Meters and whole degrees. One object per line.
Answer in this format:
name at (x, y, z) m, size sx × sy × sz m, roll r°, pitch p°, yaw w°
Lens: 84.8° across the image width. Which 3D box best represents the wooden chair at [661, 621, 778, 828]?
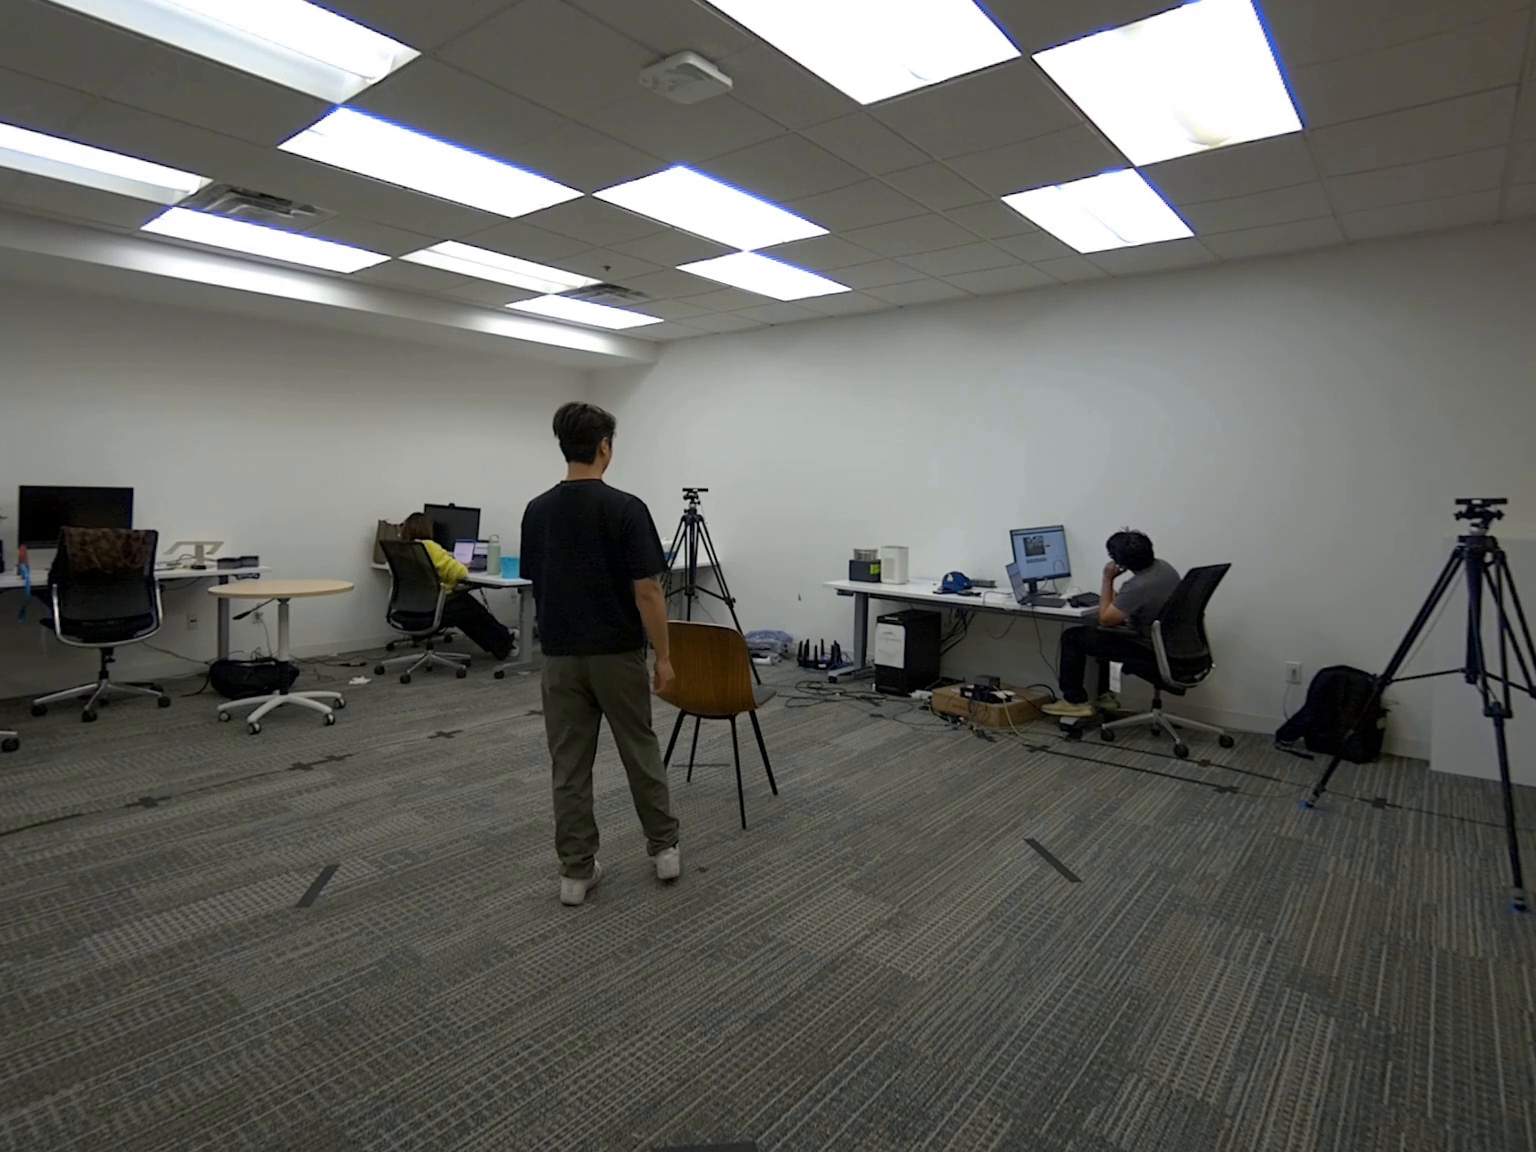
wooden chair at (-0.240, 0.576, 3.751) m, size 0.488 × 0.871 × 0.515 m, roll 2°, pitch 8°, yaw 20°
